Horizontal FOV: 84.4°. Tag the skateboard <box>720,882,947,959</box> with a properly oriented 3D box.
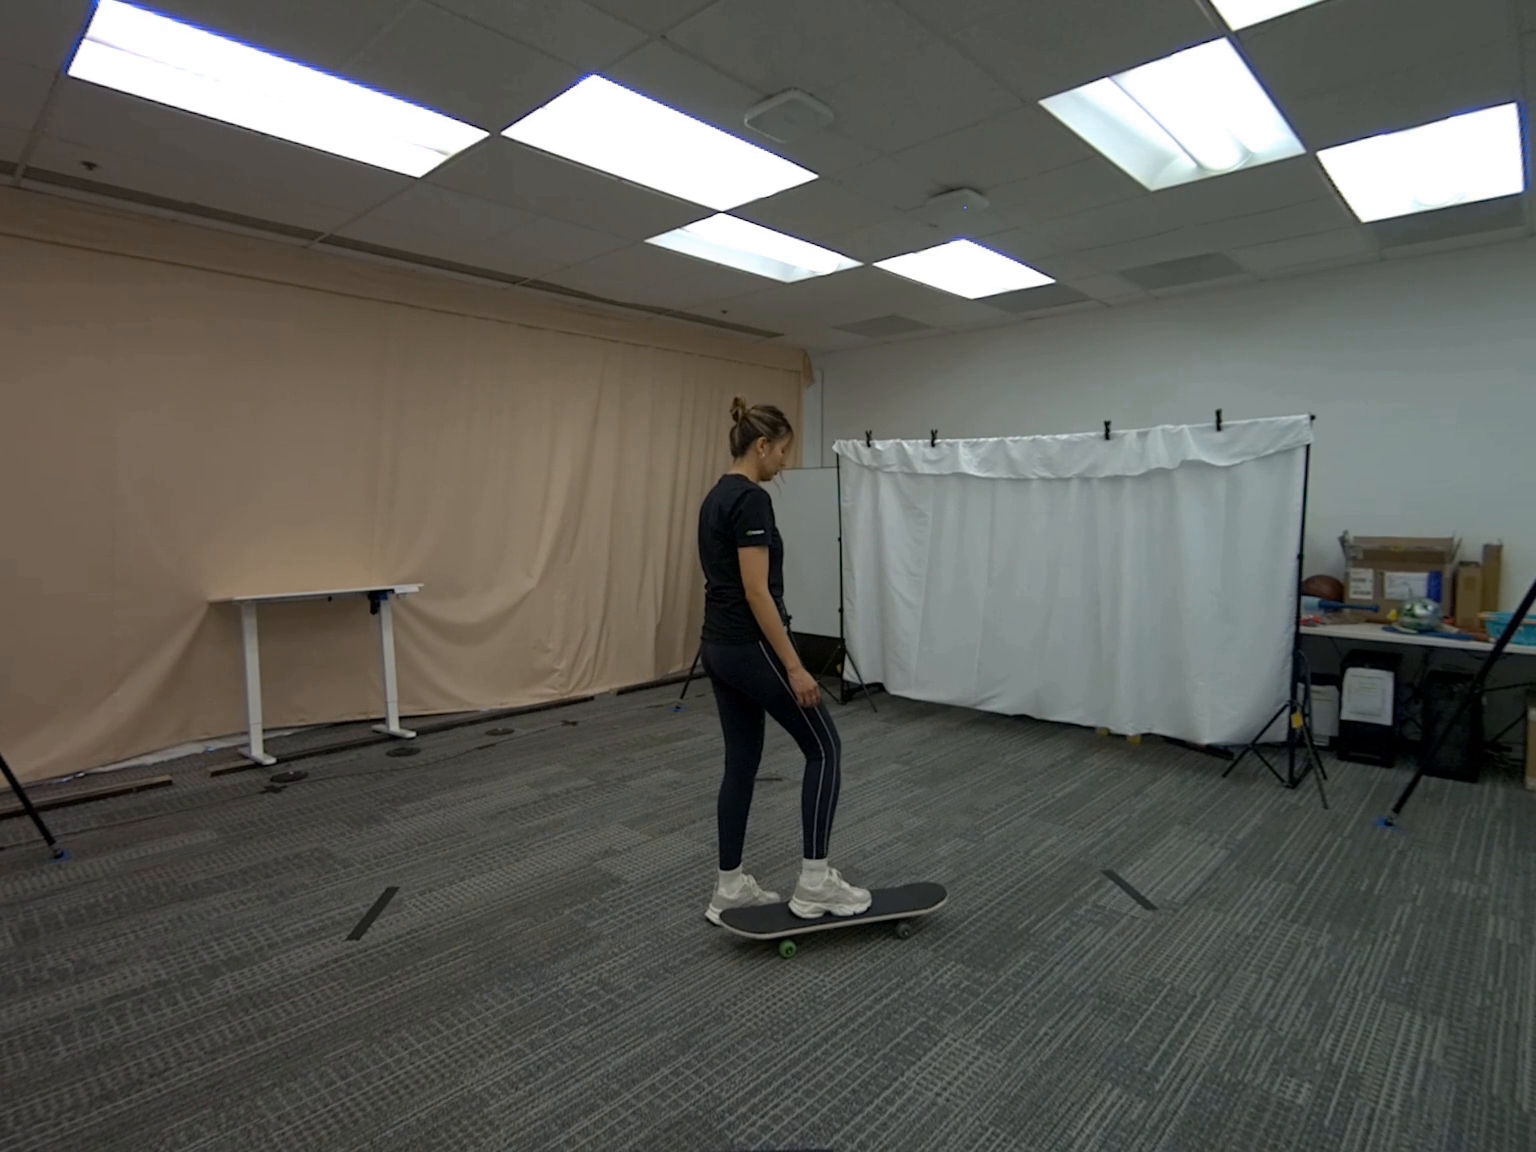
[{"bbox_3d":[0.224,1.111,2.717,0.772,0.110,0.197,-1,4,-16],"label":"skateboard"}]
